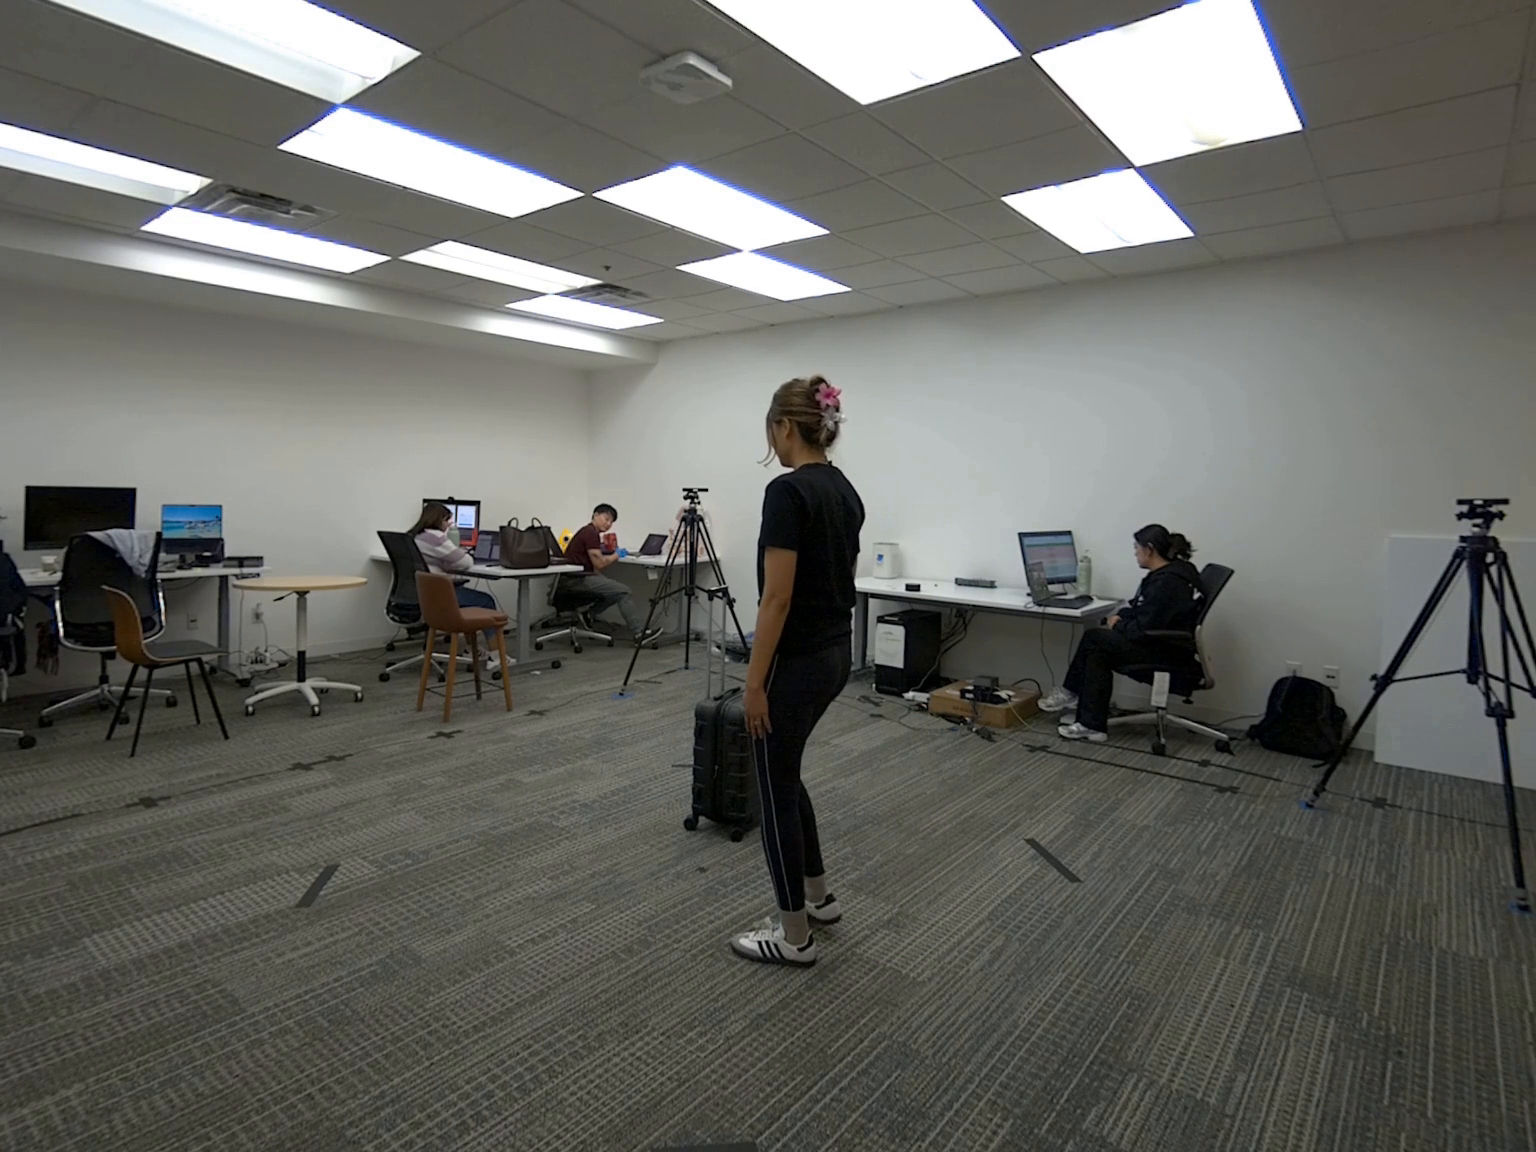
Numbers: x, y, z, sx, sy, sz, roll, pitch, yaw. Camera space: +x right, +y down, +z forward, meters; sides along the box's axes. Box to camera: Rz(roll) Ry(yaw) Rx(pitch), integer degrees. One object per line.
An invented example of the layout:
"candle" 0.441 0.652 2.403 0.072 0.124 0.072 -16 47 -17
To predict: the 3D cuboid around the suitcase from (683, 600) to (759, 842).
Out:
"suitcase" -0.141 0.556 3.543 0.263 0.977 0.375 4 2 22
